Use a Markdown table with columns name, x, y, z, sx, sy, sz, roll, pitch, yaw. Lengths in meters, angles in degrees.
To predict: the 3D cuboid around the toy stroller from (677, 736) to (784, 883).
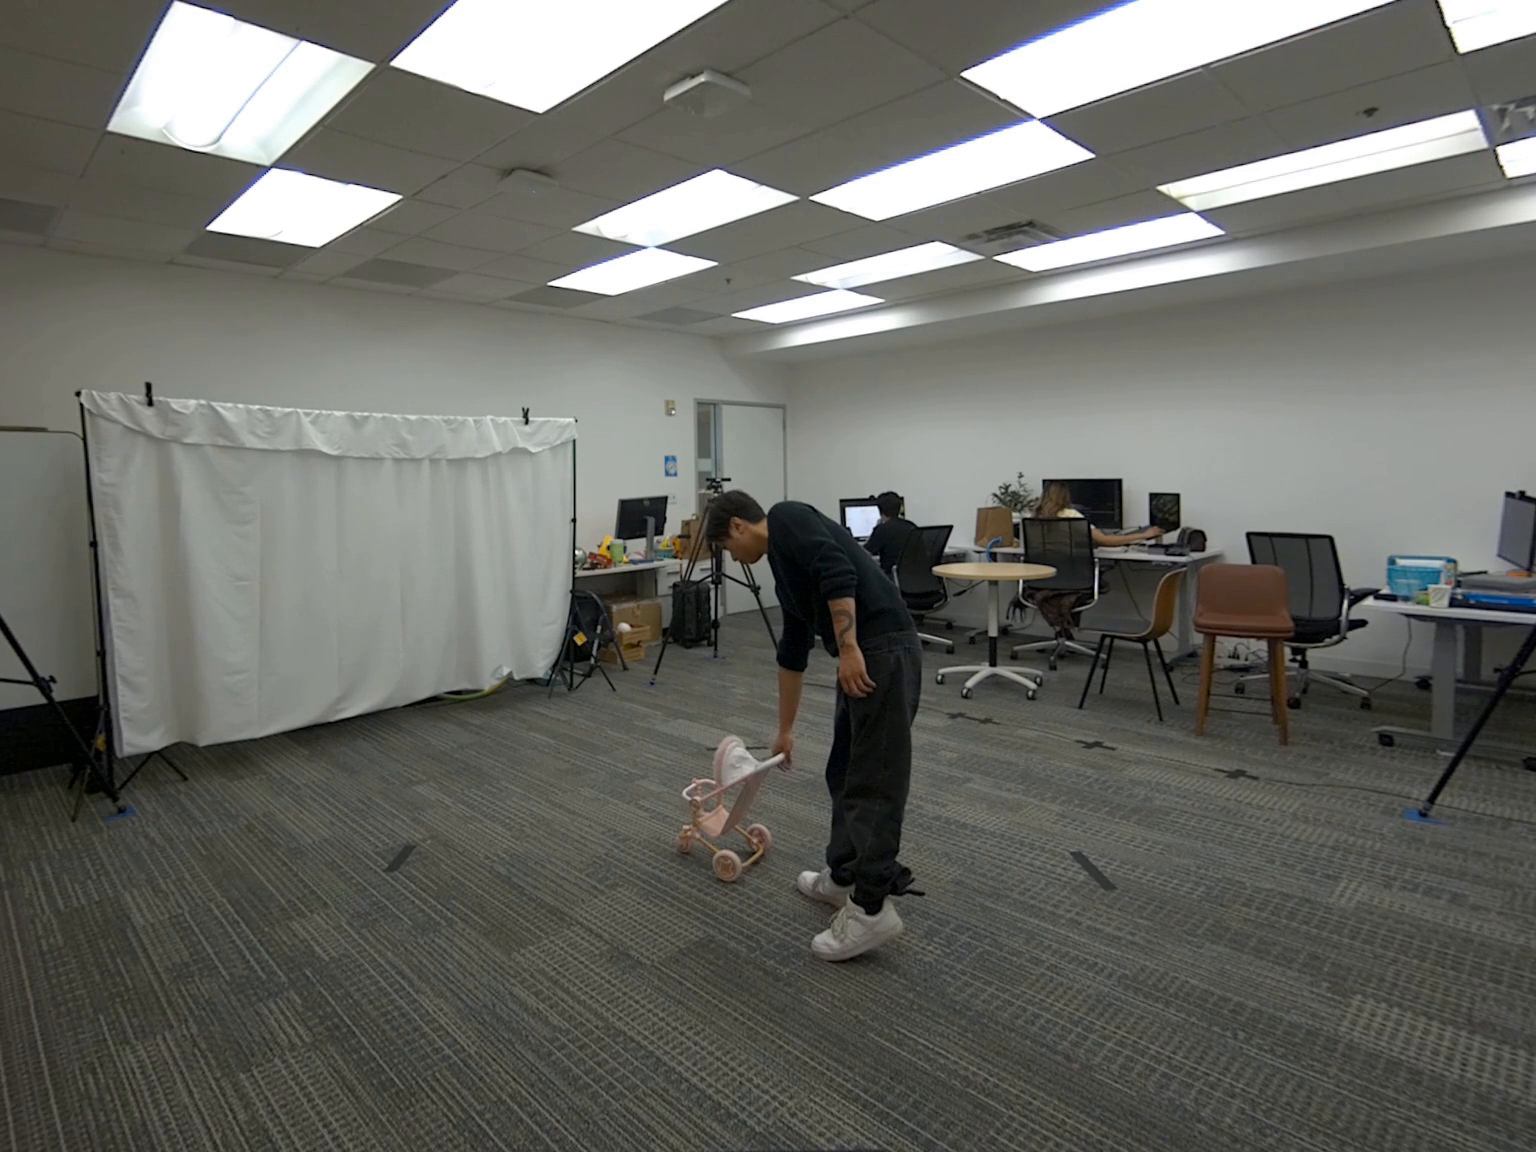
| name | x | y | z | sx | sy | sz | roll | pitch | yaw |
| --- | --- | --- | --- | --- | --- | --- | --- | --- | --- |
| toy stroller | -0.145 | 0.818 | 3.097 | 0.352 | 0.531 | 0.275 | 20 | 14 | 29 |
